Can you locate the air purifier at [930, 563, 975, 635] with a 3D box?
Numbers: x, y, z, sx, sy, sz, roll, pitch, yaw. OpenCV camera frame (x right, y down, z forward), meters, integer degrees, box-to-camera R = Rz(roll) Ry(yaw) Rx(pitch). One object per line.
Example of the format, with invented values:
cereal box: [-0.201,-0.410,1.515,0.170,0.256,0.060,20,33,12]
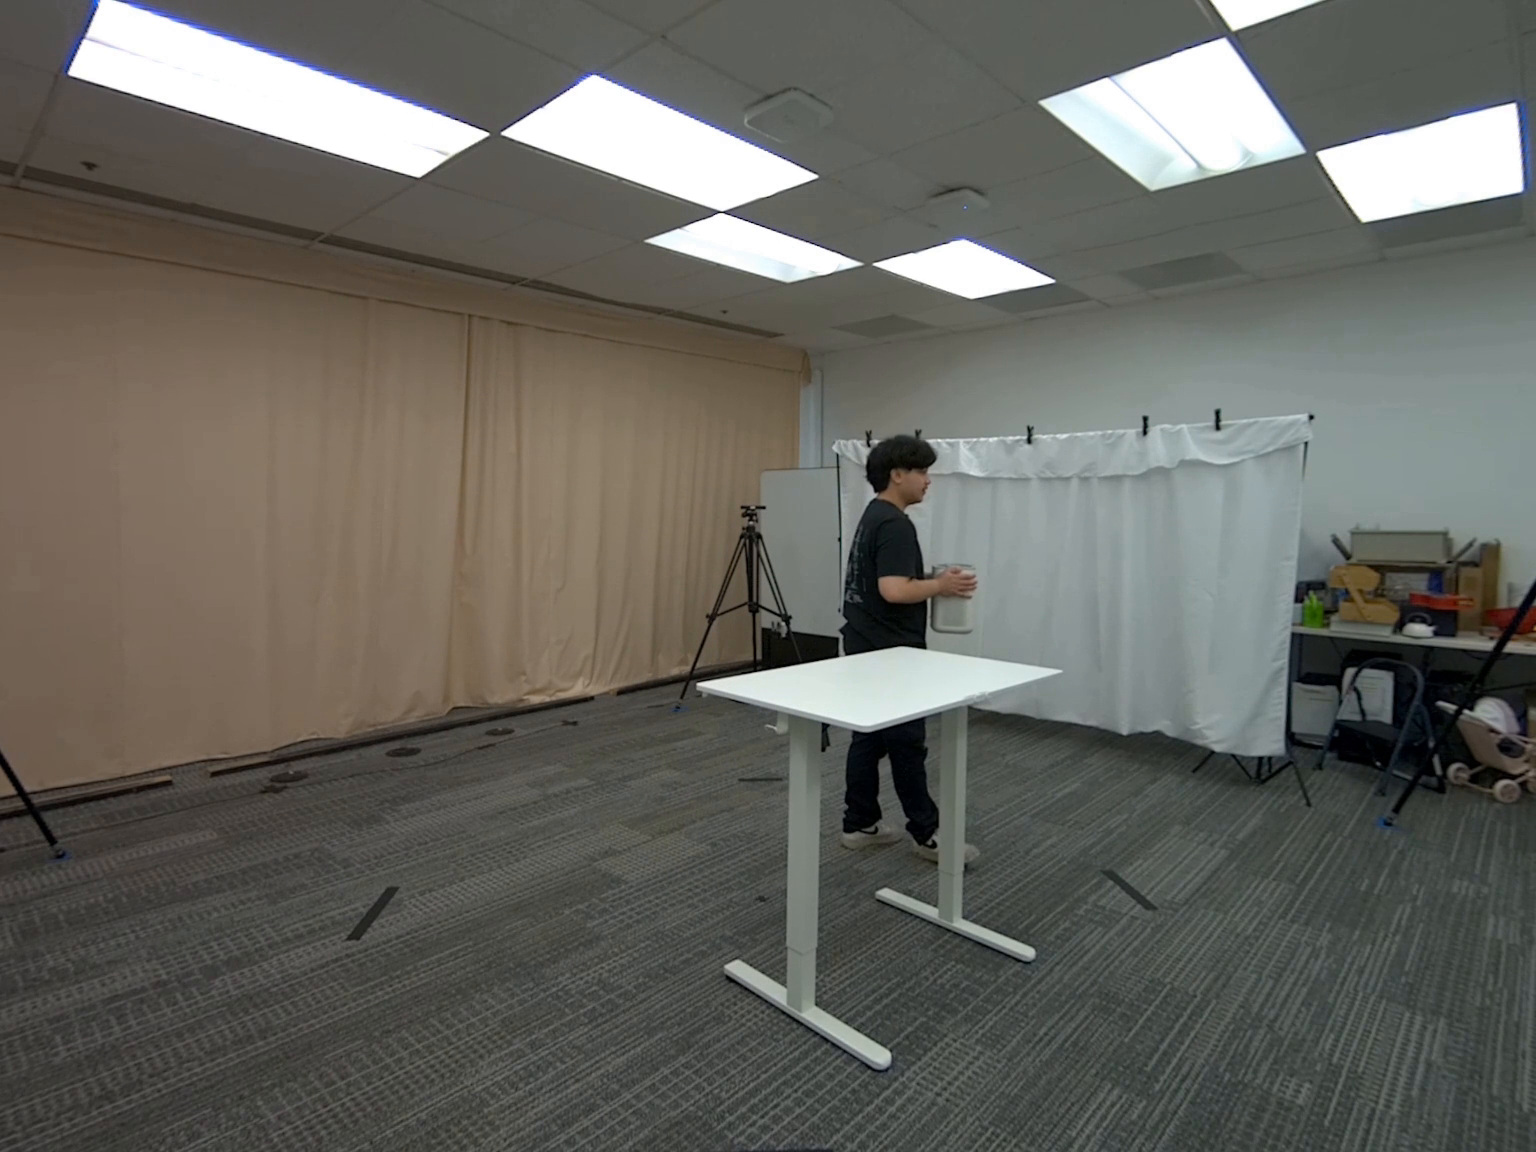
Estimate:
air purifier: [0.748,0.093,3.373,0.174,0.264,0.169,2,5,10]
